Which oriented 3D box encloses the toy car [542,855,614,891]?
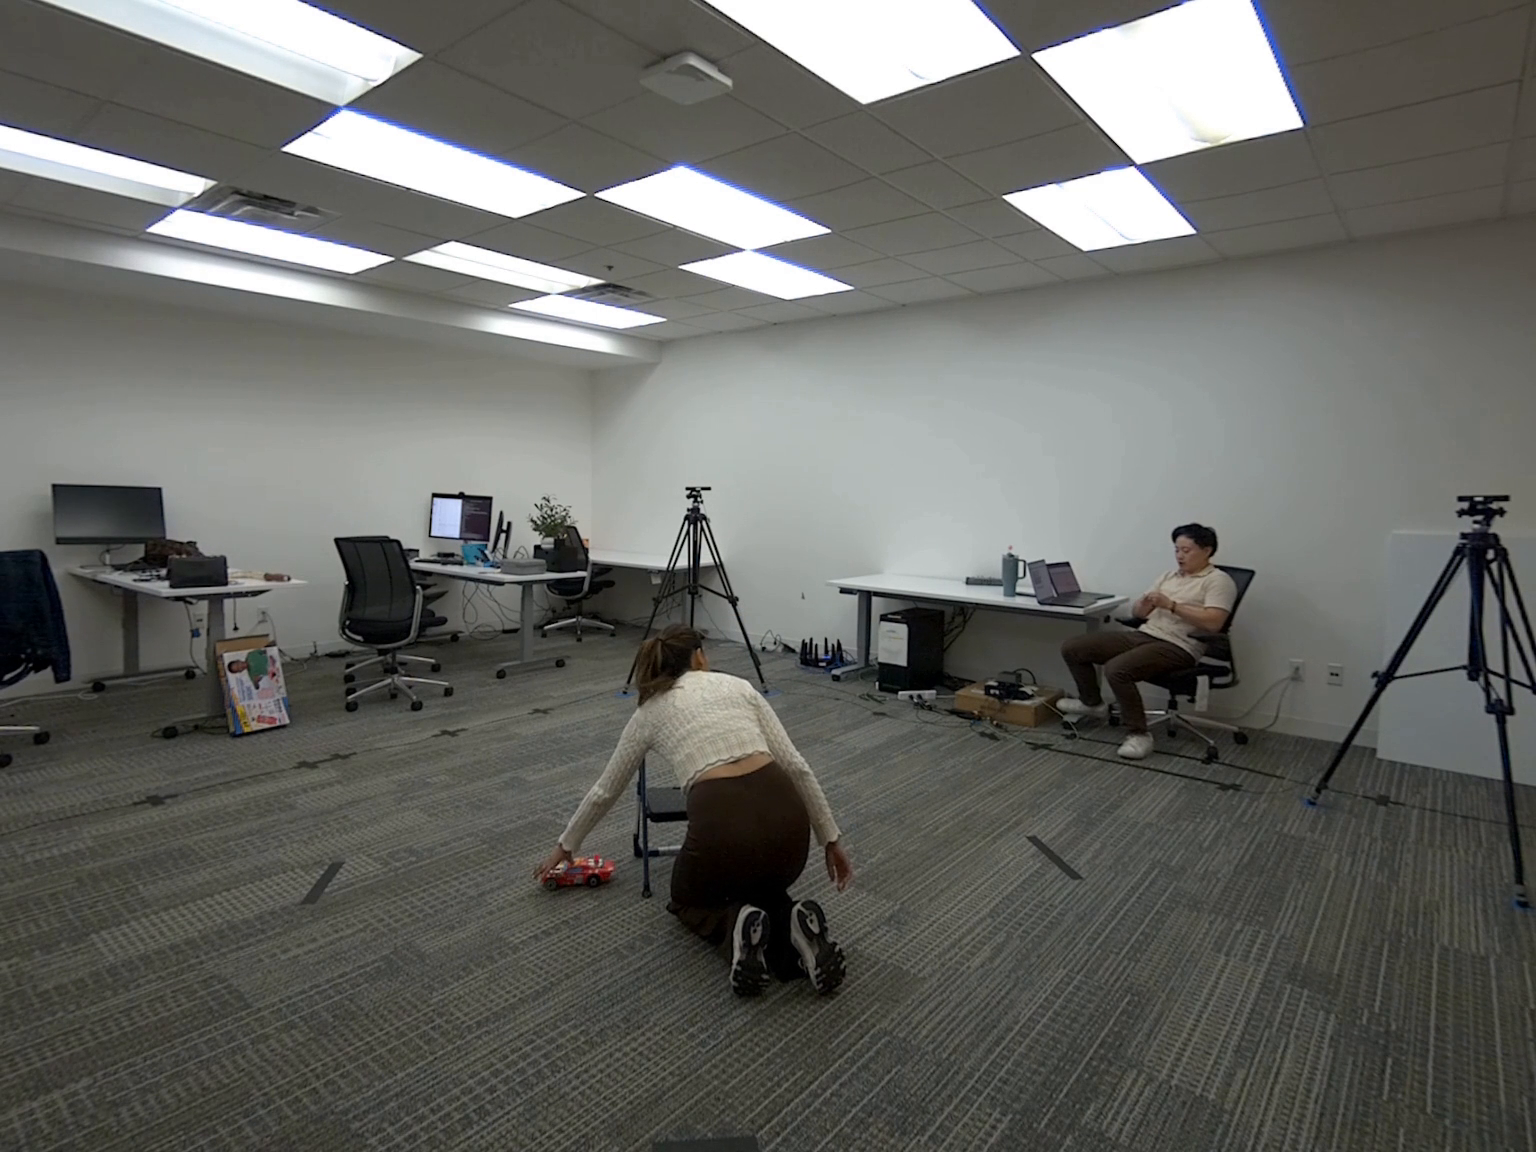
[{"bbox_3d":[-0.671,1.037,2.986,0.253,0.083,0.132,-12,6,-6],"label":"toy car"}]
